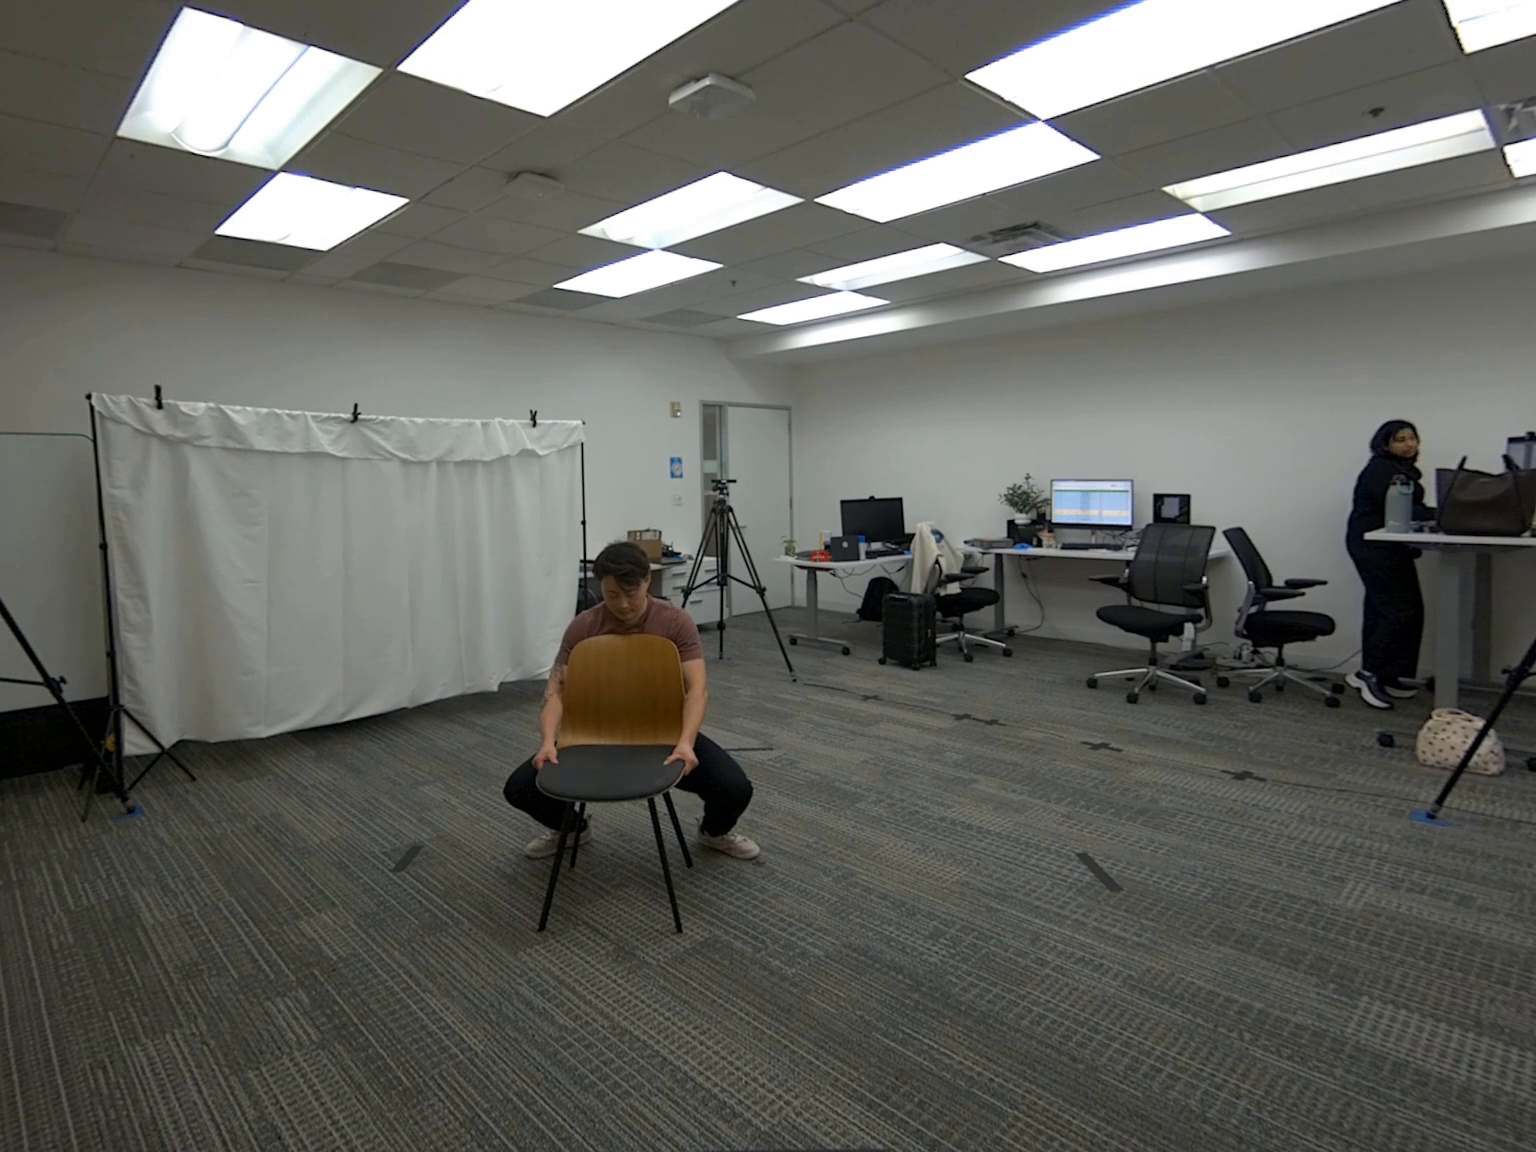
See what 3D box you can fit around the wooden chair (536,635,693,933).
[{"bbox_3d":[-0.498,0.665,2.827,0.479,0.877,0.522,-1,0,1],"label":"wooden chair"}]
